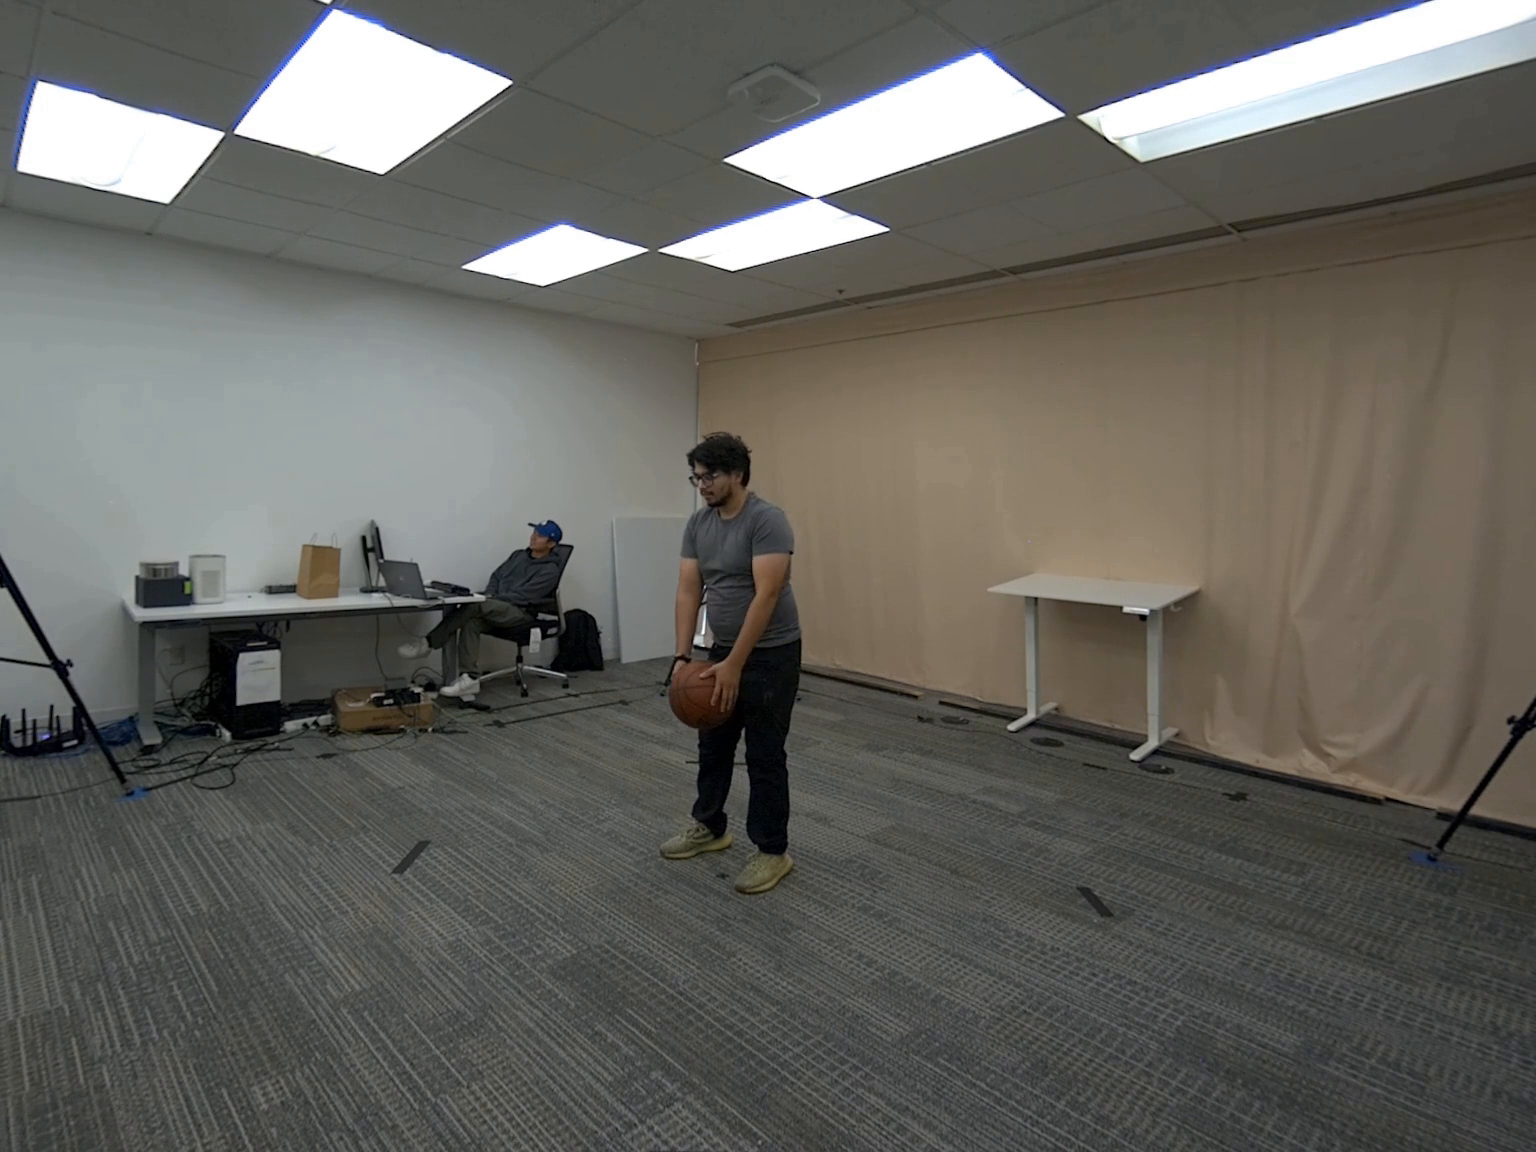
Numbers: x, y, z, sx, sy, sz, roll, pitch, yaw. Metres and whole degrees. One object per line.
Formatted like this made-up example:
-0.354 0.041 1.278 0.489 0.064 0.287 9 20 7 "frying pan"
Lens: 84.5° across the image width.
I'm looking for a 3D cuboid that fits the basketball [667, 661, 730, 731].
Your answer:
-0.232 0.407 2.924 0.236 0.235 0.237 1 4 -1 "basketball"
